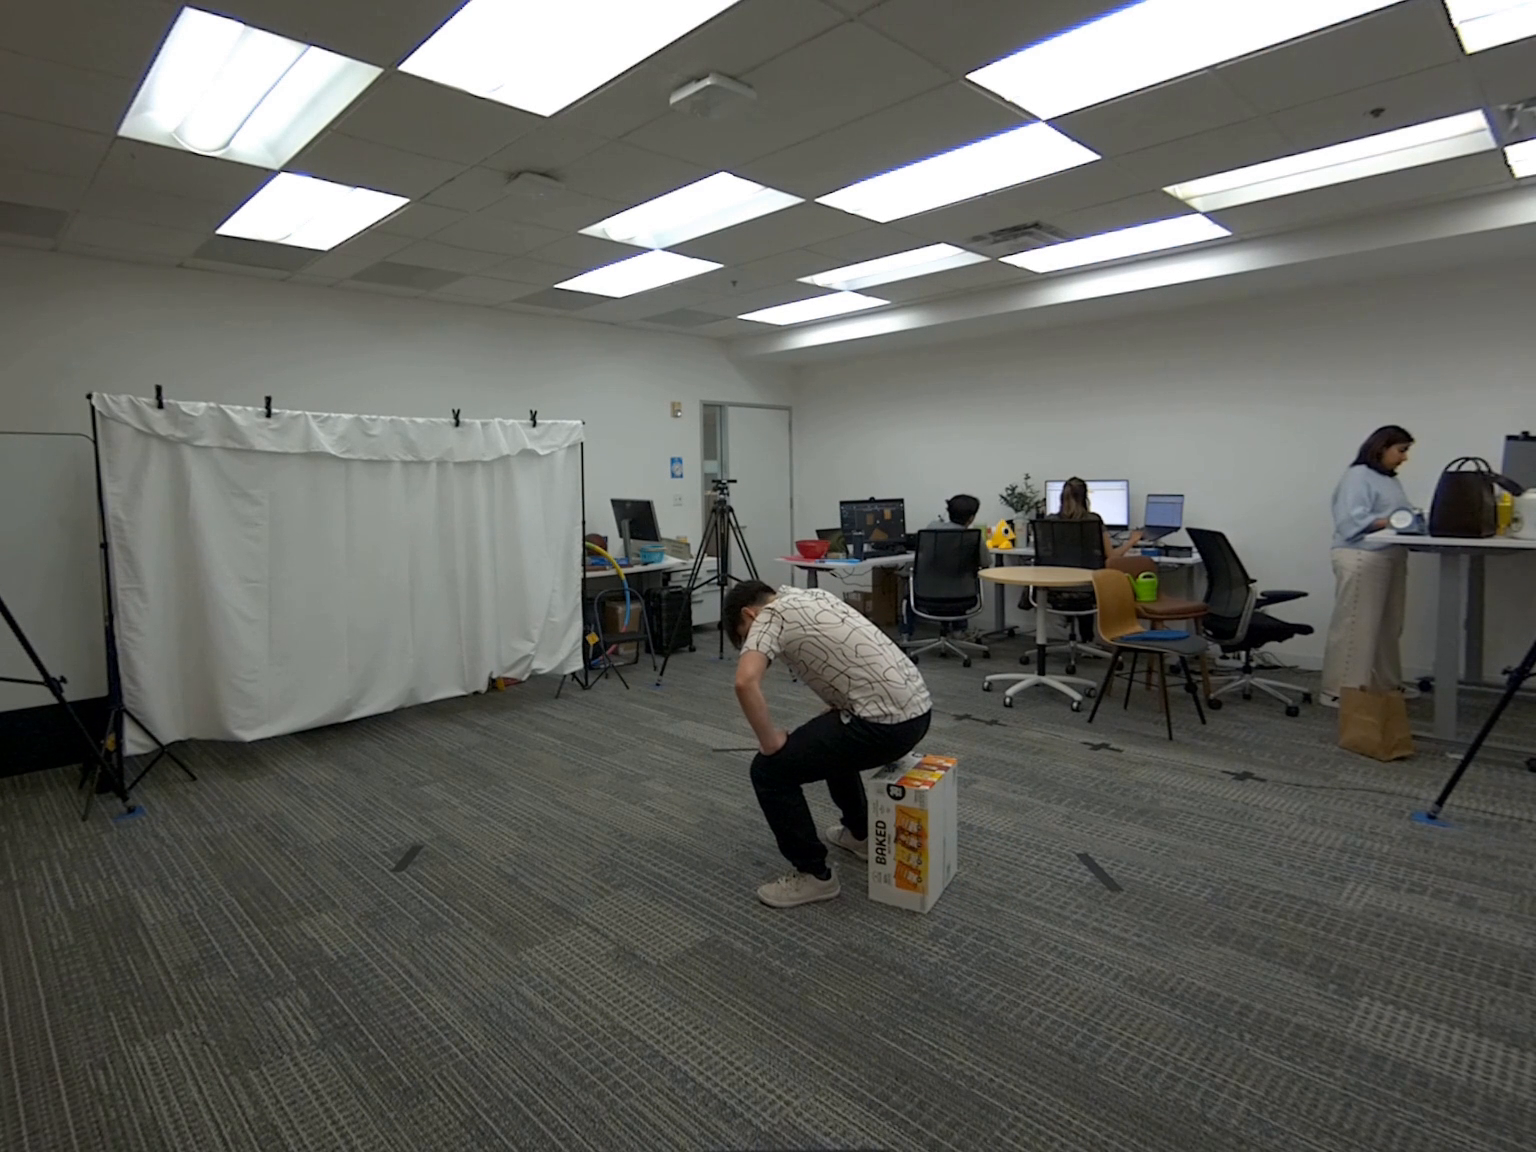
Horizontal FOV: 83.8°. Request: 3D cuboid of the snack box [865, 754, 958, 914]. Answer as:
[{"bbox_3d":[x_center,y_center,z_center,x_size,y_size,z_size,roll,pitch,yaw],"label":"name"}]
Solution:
[{"bbox_3d":[0.503,0.856,2.911,0.211,0.404,0.333,1,5,29],"label":"snack box"}]
